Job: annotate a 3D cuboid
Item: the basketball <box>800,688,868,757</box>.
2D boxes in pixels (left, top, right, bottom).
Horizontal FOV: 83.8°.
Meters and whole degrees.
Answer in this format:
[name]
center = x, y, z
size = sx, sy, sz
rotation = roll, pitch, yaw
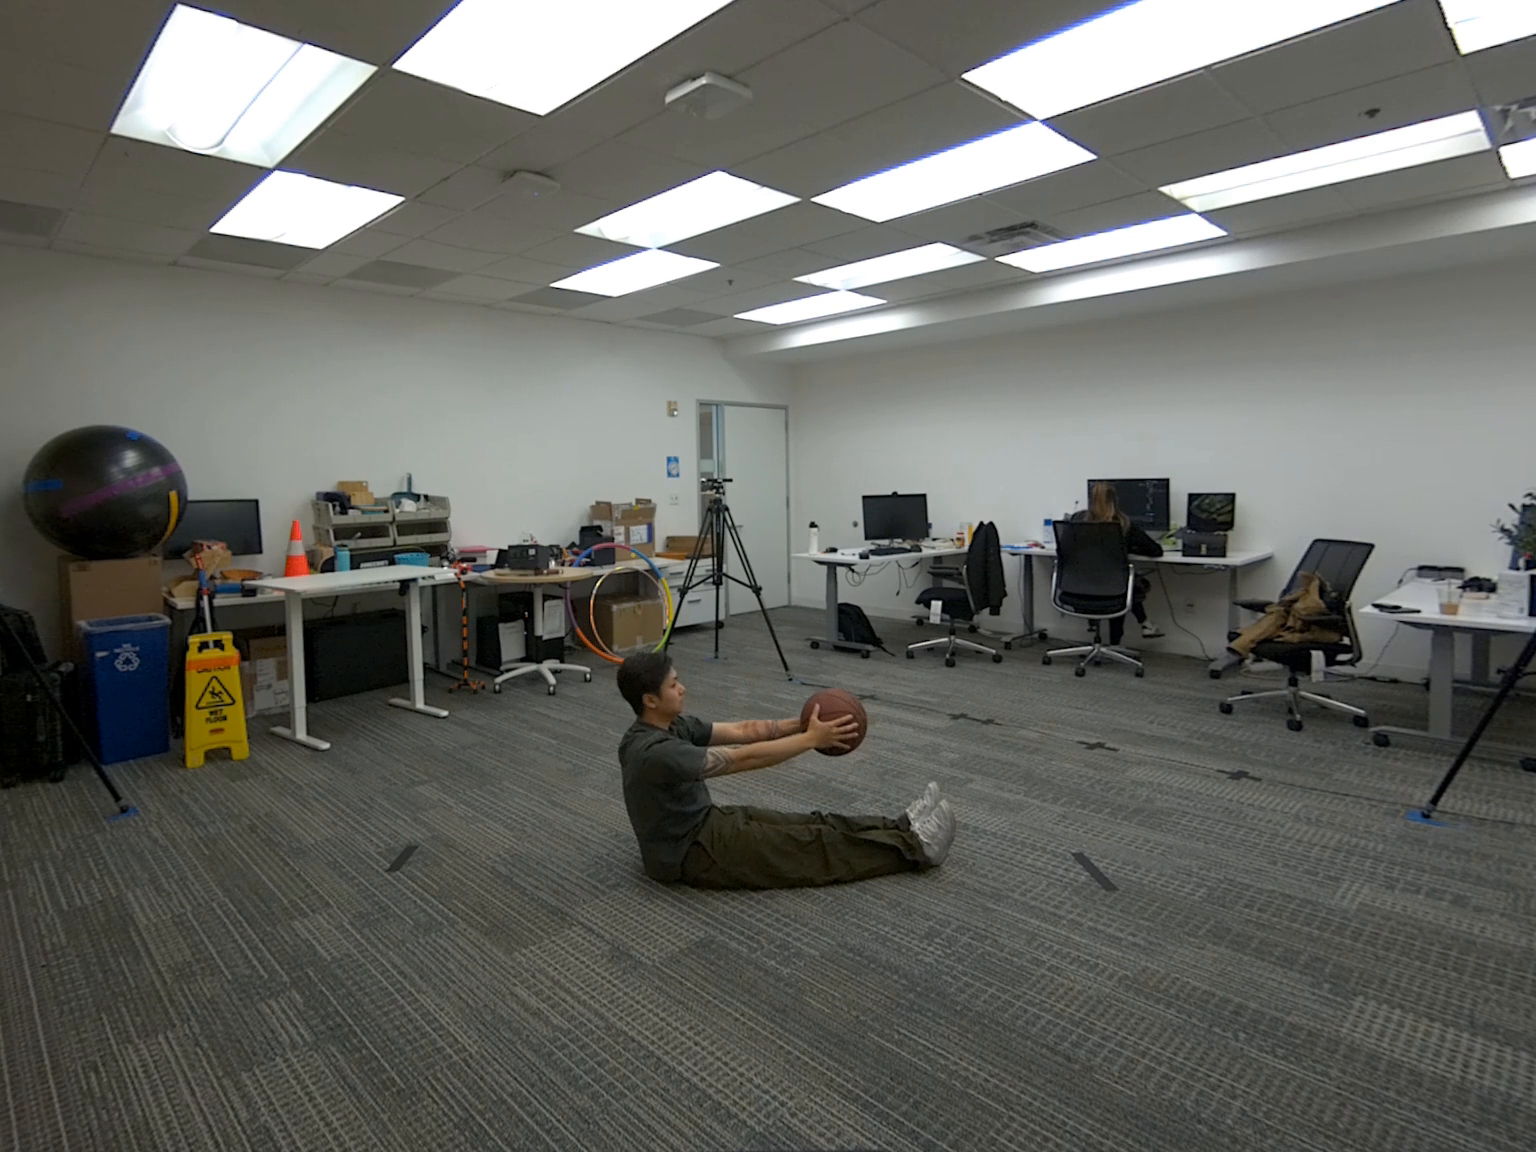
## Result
[basketball]
center = 0.238, 0.523, 3.054
size = 0.236, 0.235, 0.237
rotation = -1, 5, -2
